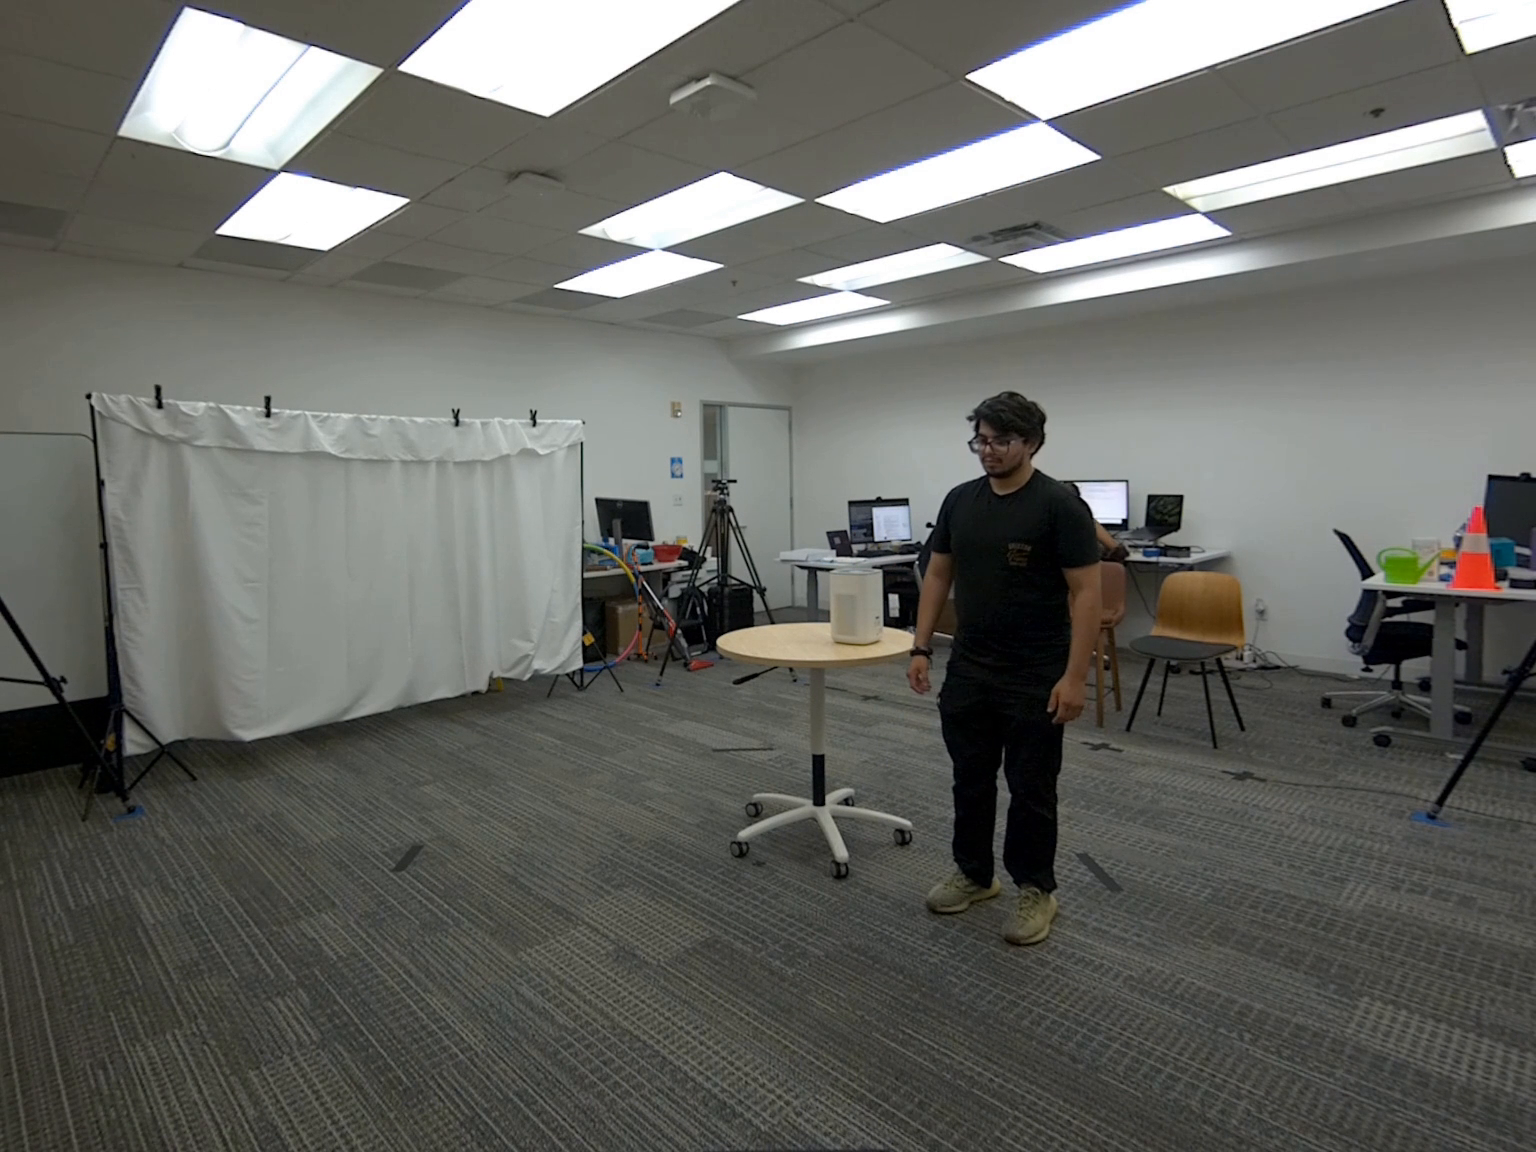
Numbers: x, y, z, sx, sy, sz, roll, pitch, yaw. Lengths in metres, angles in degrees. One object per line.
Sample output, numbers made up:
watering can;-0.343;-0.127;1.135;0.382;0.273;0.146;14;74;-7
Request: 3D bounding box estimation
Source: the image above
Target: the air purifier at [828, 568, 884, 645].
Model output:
air purifier;0.338;0.113;3.195;0.176;0.264;0.167;0;5;33
